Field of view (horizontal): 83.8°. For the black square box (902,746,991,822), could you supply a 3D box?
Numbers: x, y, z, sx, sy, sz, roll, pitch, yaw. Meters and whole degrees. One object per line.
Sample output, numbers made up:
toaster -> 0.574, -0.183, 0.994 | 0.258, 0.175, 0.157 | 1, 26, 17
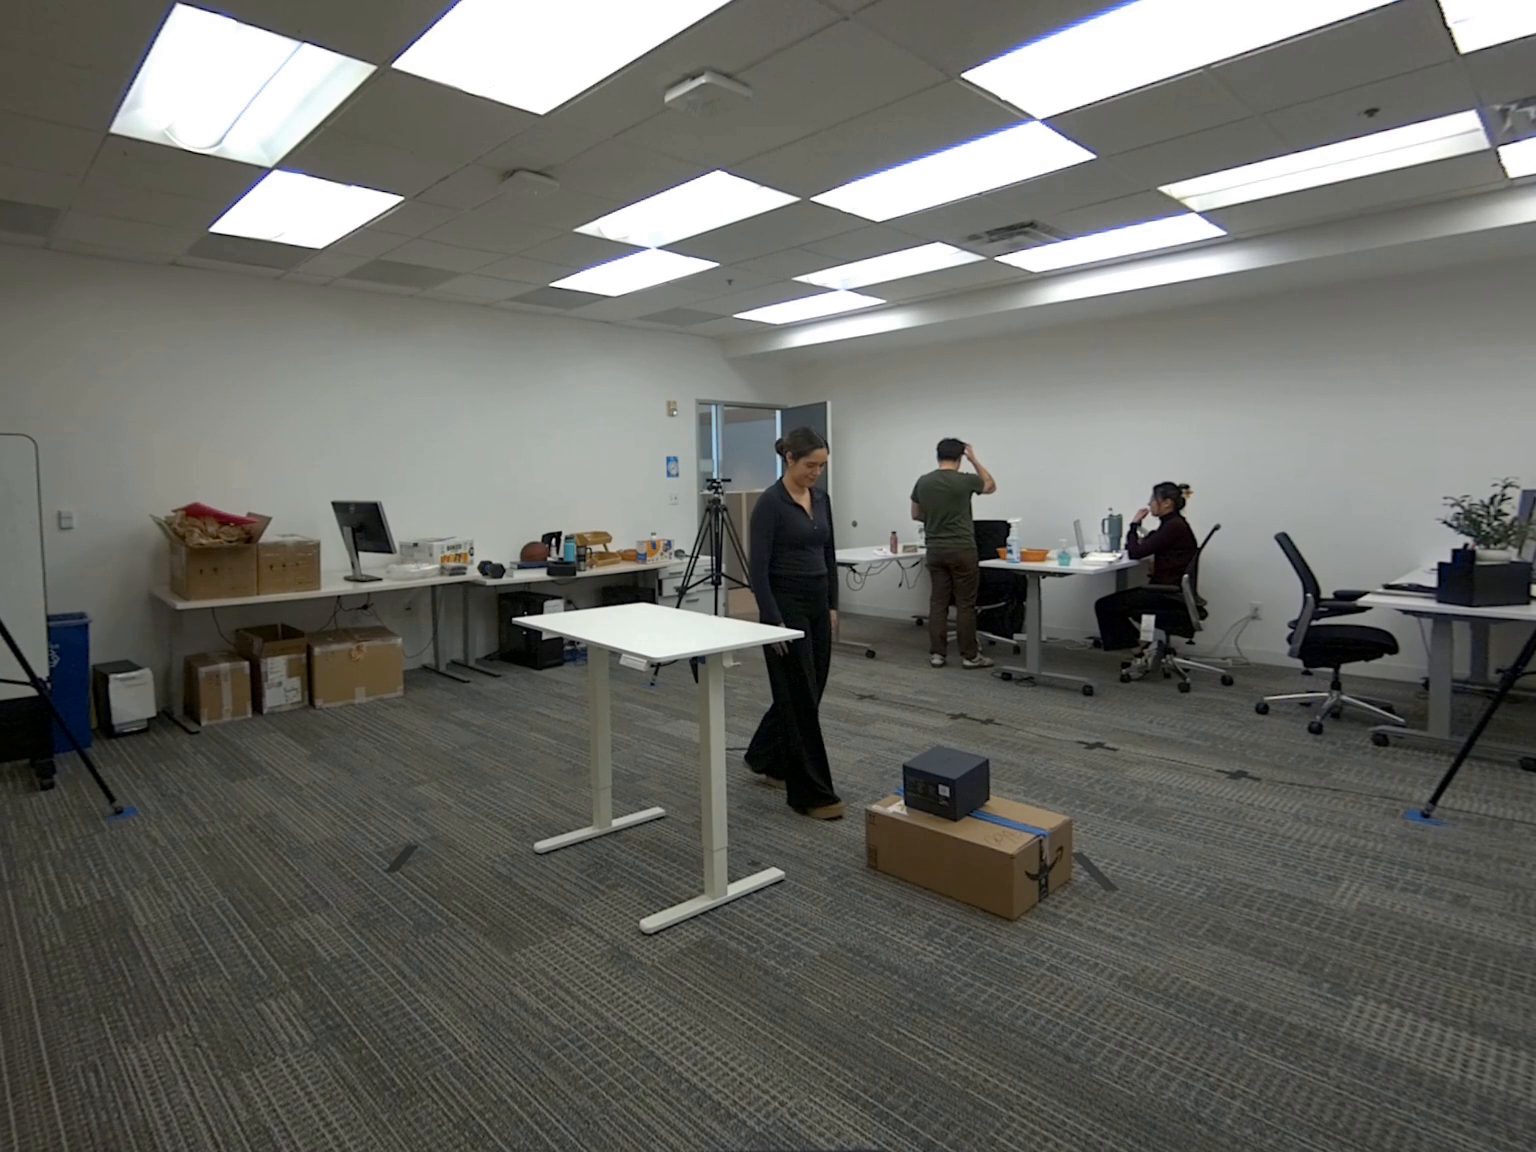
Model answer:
black square box -> 0.639, 0.733, 3.051 | 0.224, 0.155, 0.223 | 5, 12, 44
